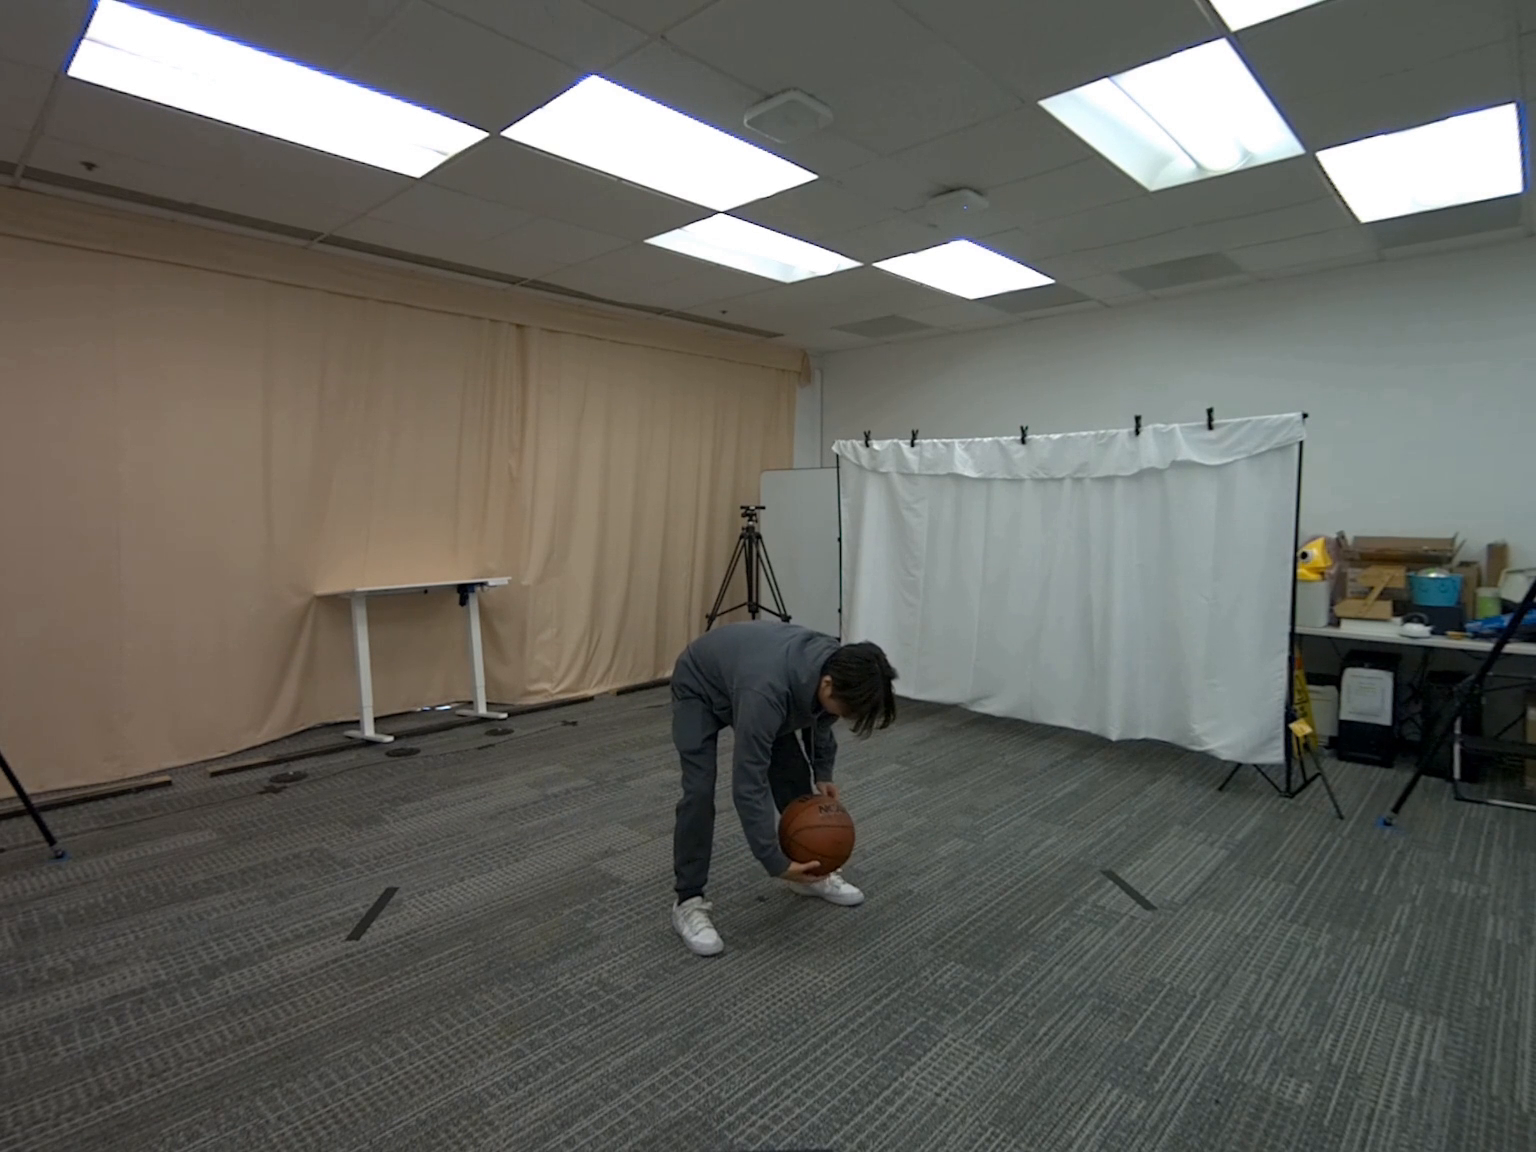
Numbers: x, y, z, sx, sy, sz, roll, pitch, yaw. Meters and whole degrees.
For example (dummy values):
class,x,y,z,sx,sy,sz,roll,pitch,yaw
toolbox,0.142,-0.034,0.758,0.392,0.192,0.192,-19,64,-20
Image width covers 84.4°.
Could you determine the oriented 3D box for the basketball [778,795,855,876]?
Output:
class,x,y,z,sx,sy,sz,roll,pitch,yaw
basketball,0.139,0.797,2.610,0.236,0.235,0.237,0,4,-2
